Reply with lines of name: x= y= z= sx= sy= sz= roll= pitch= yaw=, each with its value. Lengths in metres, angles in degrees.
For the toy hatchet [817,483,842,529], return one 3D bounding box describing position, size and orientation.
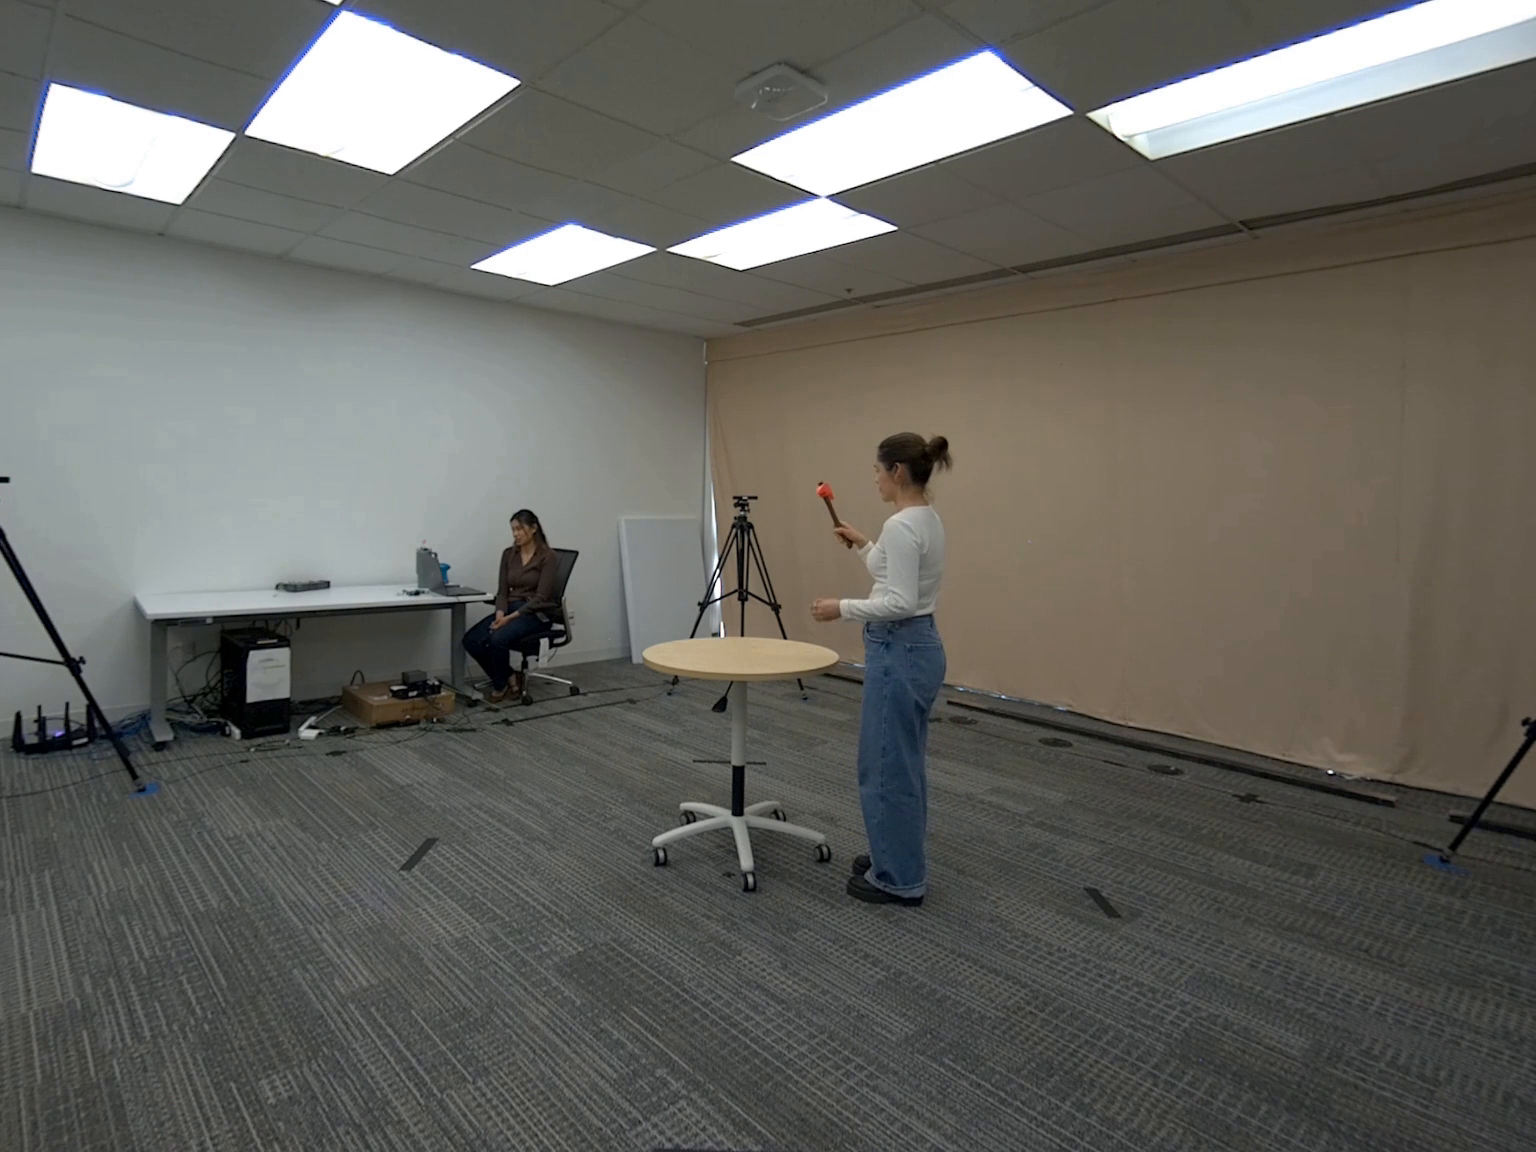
toy hatchet: x=0.248 y=-0.238 z=3.145 sx=0.030 sy=0.264 sz=0.132 roll=-23 pitch=24 yaw=23
